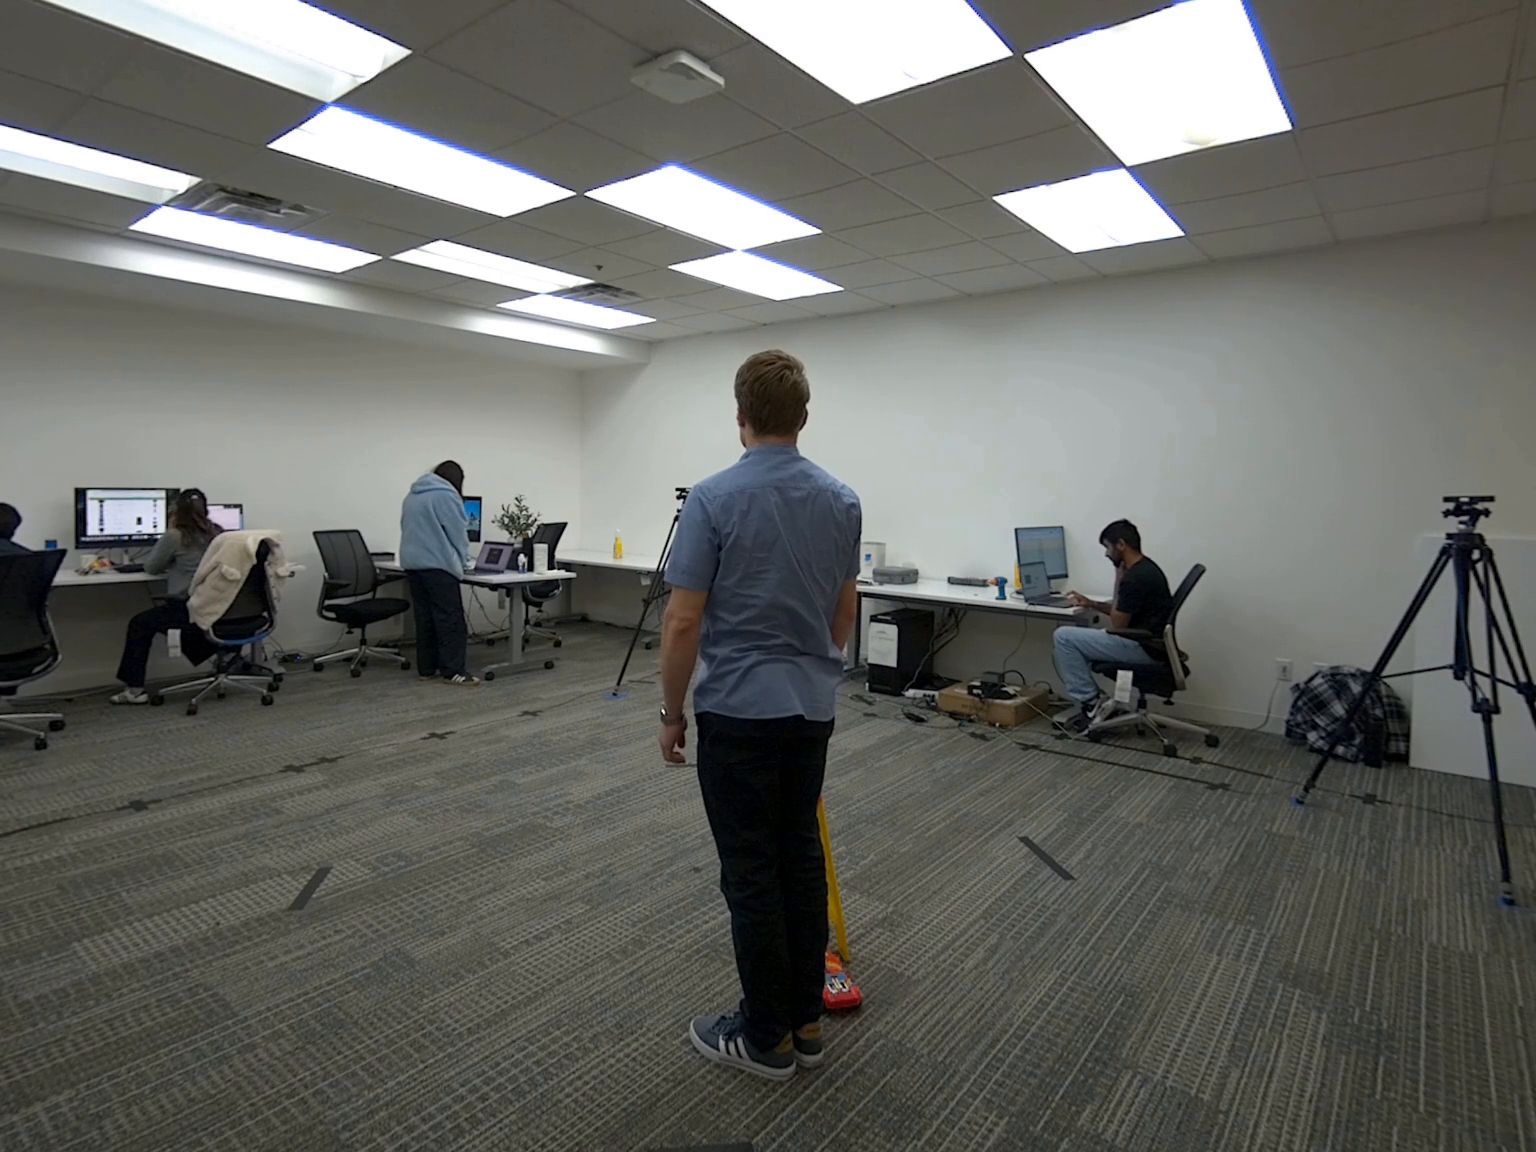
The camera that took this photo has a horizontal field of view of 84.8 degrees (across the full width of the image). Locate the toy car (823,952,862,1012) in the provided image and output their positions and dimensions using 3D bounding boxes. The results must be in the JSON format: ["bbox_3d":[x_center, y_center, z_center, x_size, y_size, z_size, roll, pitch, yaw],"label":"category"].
[{"bbox_3d":[0.159,1.116,2.375,0.128,0.082,0.262,-1,17,-15],"label":"toy car"}]
